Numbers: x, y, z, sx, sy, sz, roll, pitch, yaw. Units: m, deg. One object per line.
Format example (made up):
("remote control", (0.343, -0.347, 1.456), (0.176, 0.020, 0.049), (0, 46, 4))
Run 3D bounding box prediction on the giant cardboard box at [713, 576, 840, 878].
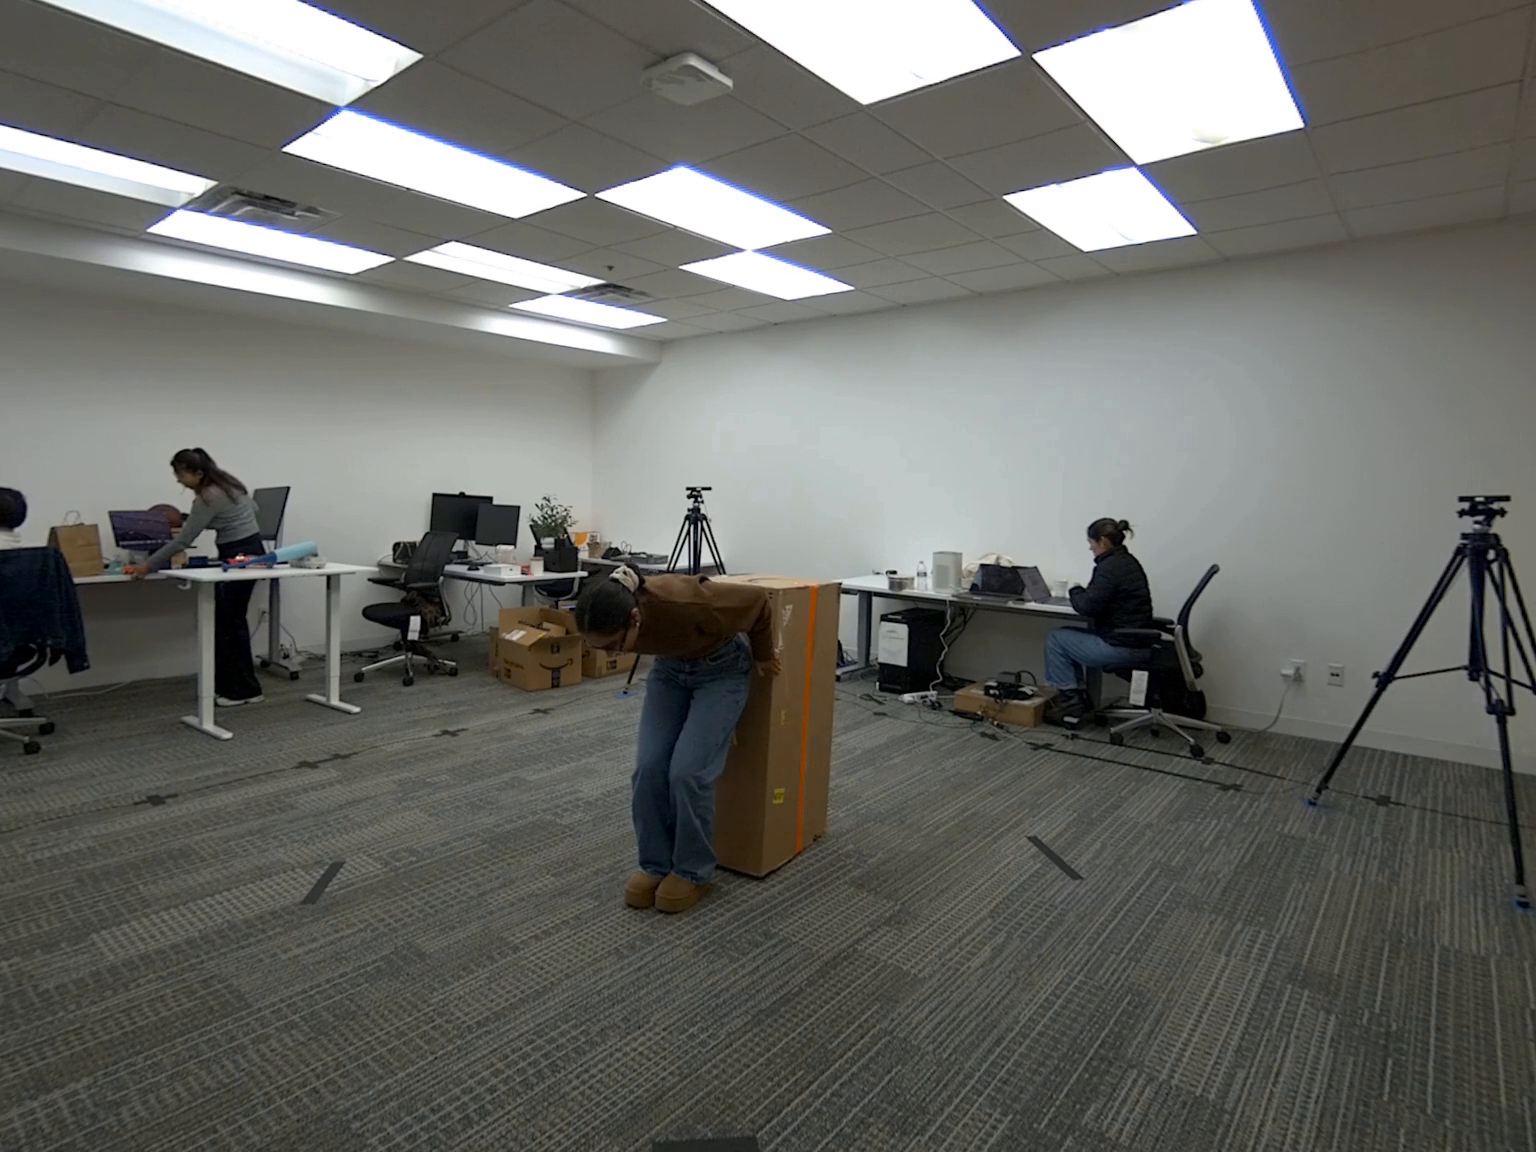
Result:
("giant cardboard box", (-0.052, 0.527, 3.339), (0.459, 1.026, 0.568), (3, 1, 28))
